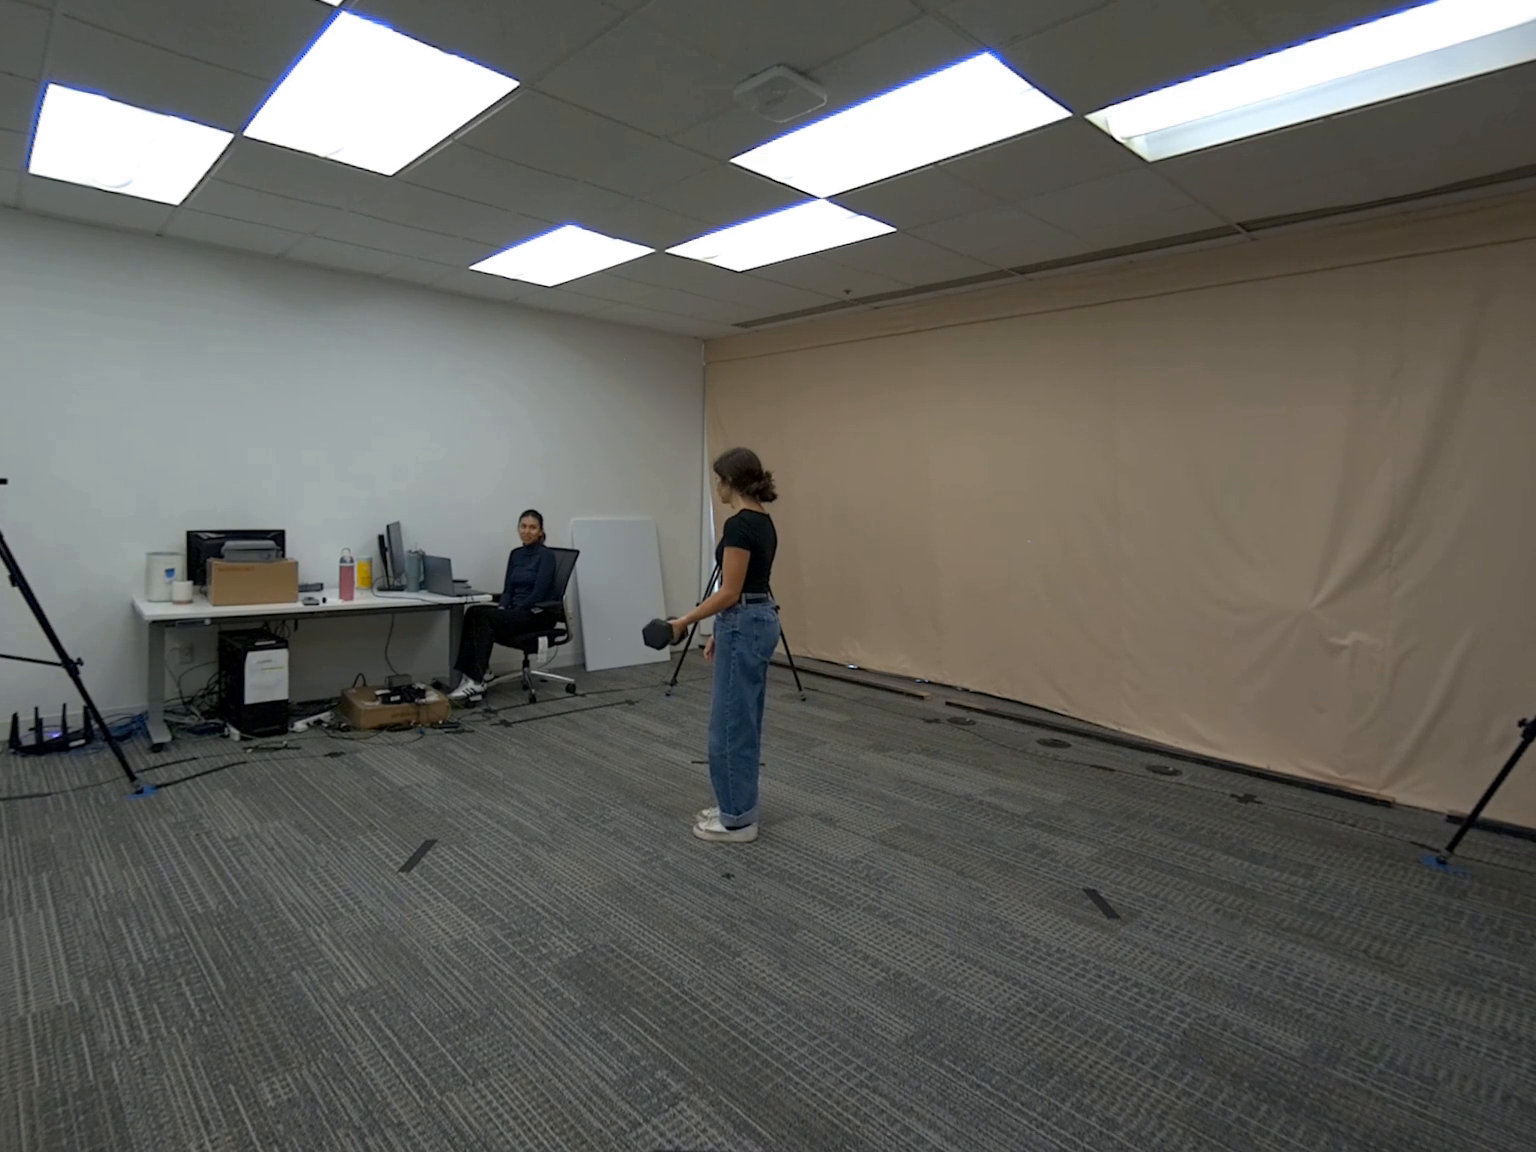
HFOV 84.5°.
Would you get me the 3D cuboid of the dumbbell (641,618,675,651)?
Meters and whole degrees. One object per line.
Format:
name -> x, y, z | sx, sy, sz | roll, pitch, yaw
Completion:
dumbbell -> -0.411, 0.218, 3.371 | 0.123, 0.109, 0.291 | -41, -6, 7
